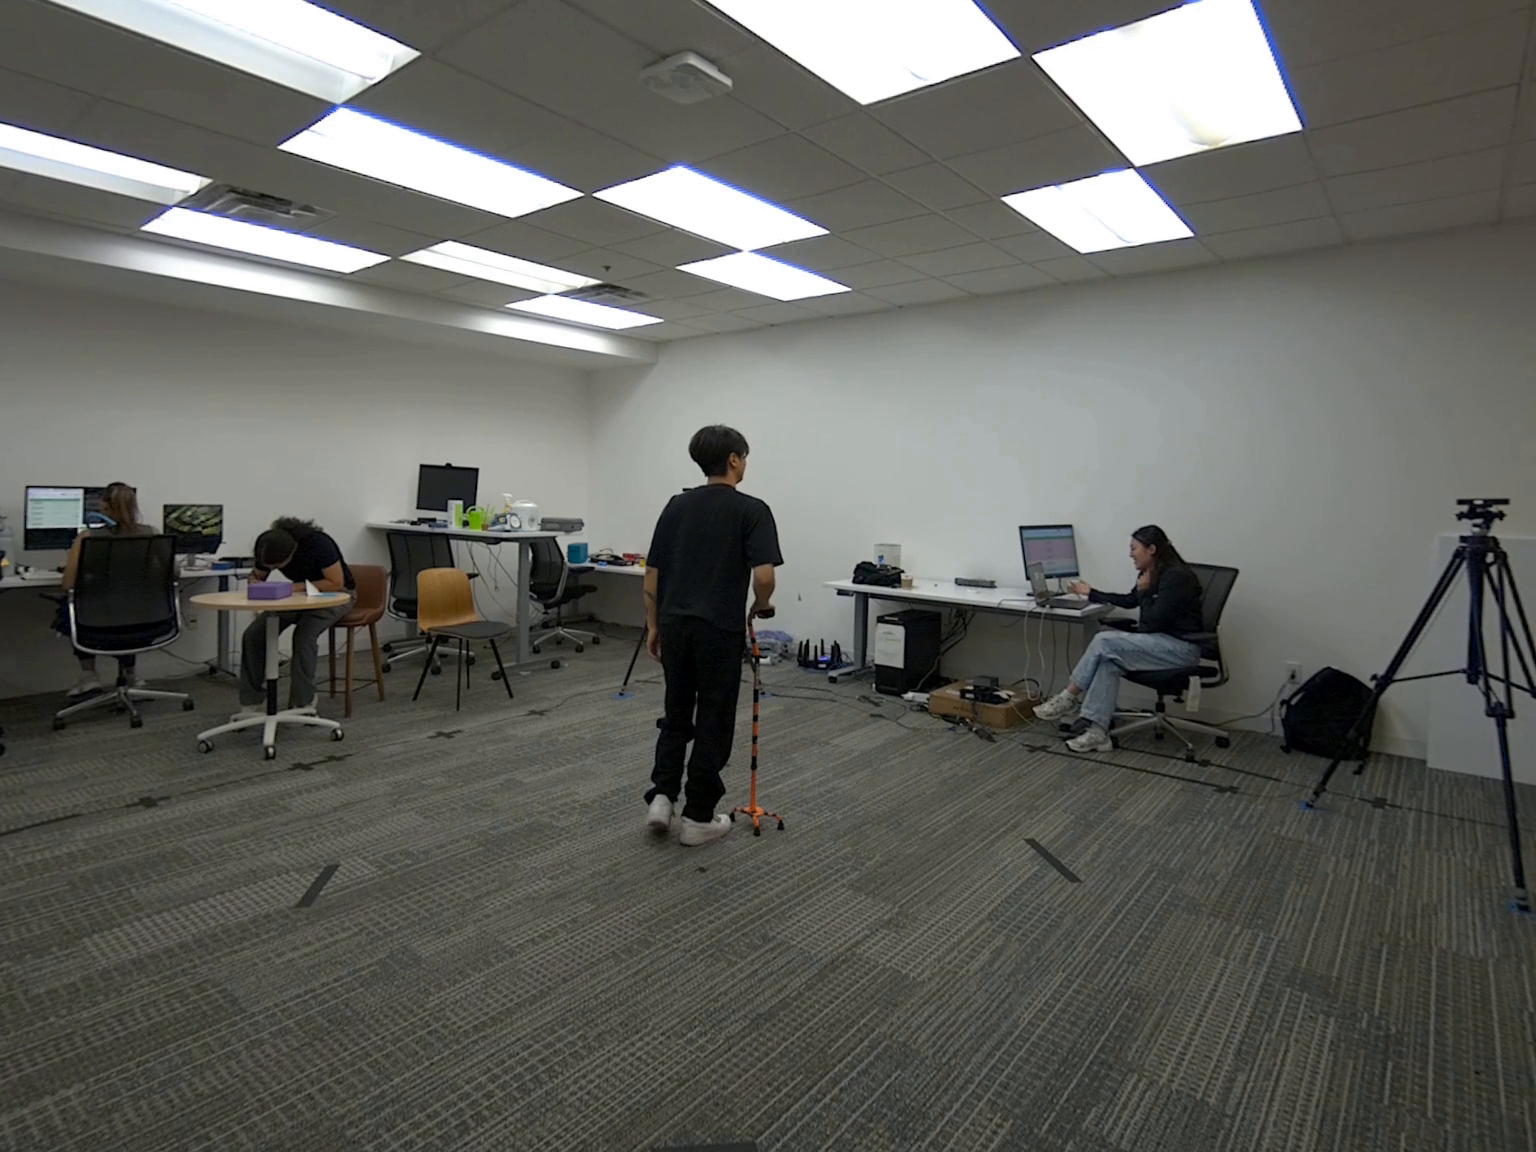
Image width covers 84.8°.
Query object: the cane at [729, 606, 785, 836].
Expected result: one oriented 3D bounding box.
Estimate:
[{"bbox_3d":[-0.043,0.583,3.521,0.147,0.906,0.213,0,2,-36],"label":"cane"}]
